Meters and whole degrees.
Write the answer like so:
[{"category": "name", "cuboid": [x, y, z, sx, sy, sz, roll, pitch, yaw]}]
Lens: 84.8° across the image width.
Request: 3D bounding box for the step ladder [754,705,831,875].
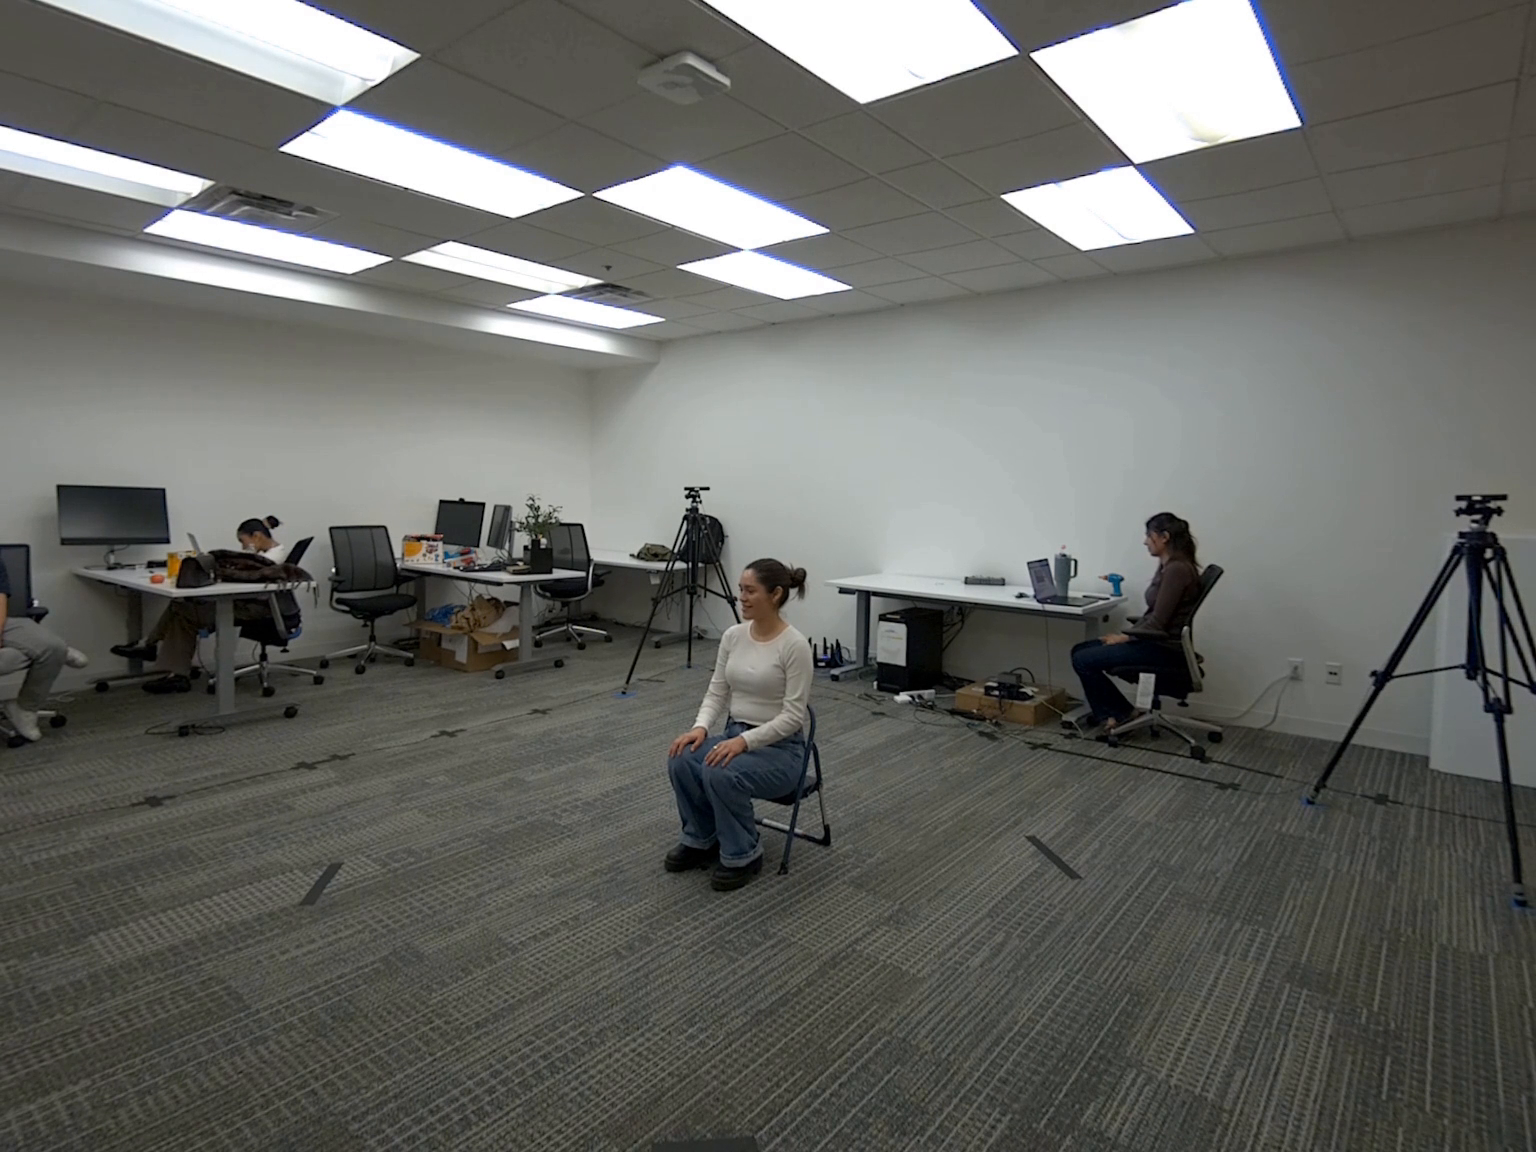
[{"category": "step ladder", "cuboid": [-0.014, 0.742, 3.317, 0.445, 0.604, 0.339, 4, 4, 37]}]
